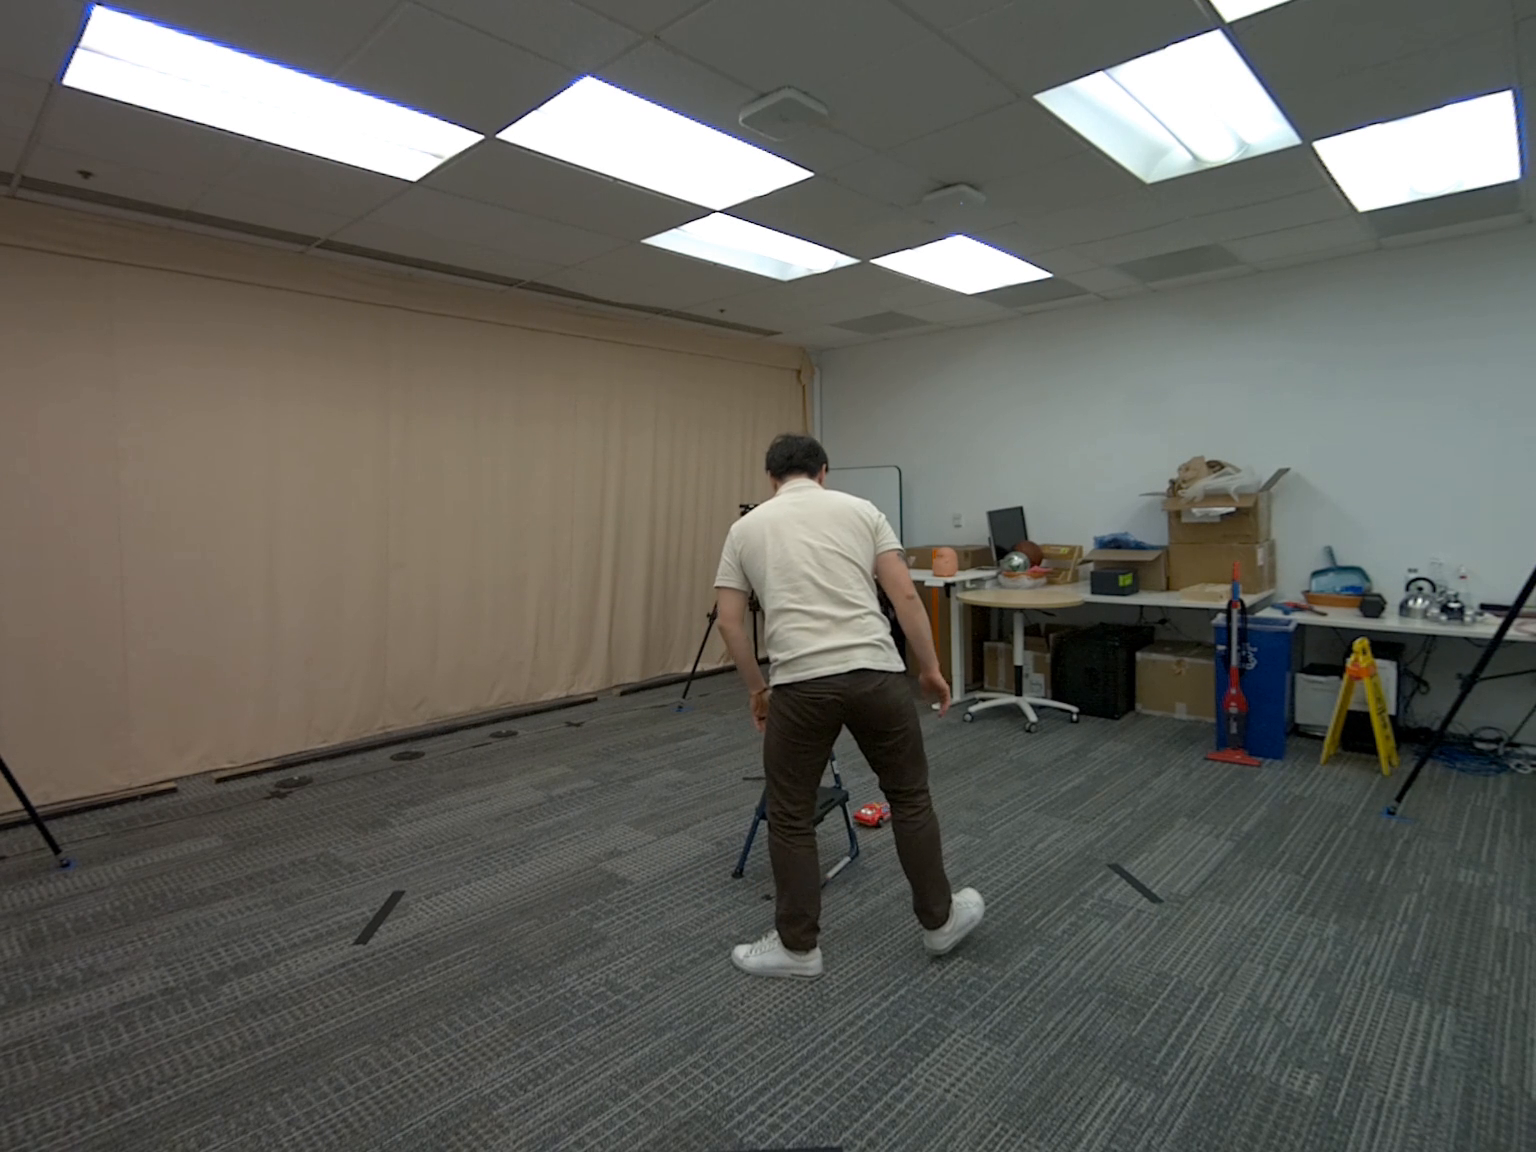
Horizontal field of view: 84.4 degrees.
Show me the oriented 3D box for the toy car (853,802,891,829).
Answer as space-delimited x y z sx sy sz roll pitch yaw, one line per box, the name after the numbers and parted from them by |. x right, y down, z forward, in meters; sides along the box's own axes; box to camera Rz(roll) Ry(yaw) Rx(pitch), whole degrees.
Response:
0.475 1.038 3.676 0.134 0.083 0.246 3 -5 44 | toy car
